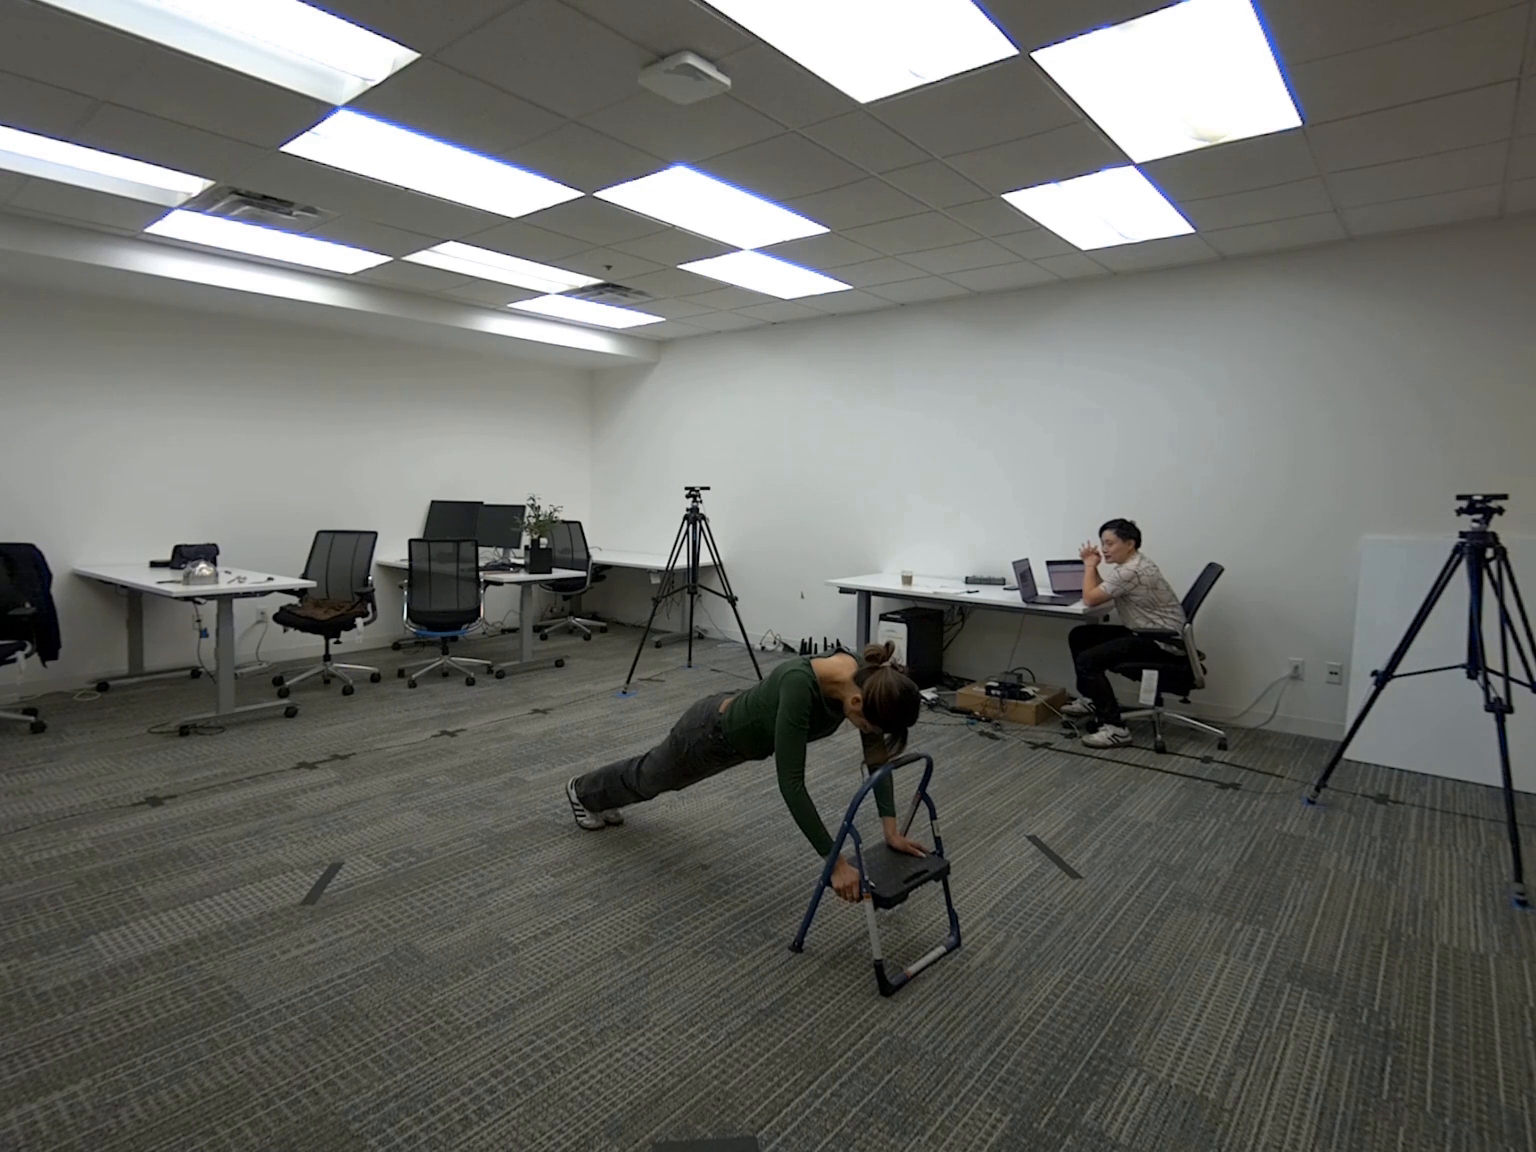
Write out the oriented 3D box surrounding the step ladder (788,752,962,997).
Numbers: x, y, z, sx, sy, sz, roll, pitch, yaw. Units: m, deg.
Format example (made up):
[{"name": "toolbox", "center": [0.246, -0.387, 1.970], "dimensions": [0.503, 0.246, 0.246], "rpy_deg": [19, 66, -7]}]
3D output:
[{"name": "step ladder", "center": [0.332, 0.826, 2.578], "dimensions": [0.361, 0.604, 0.417], "rpy_deg": [5, 5, 43]}]
